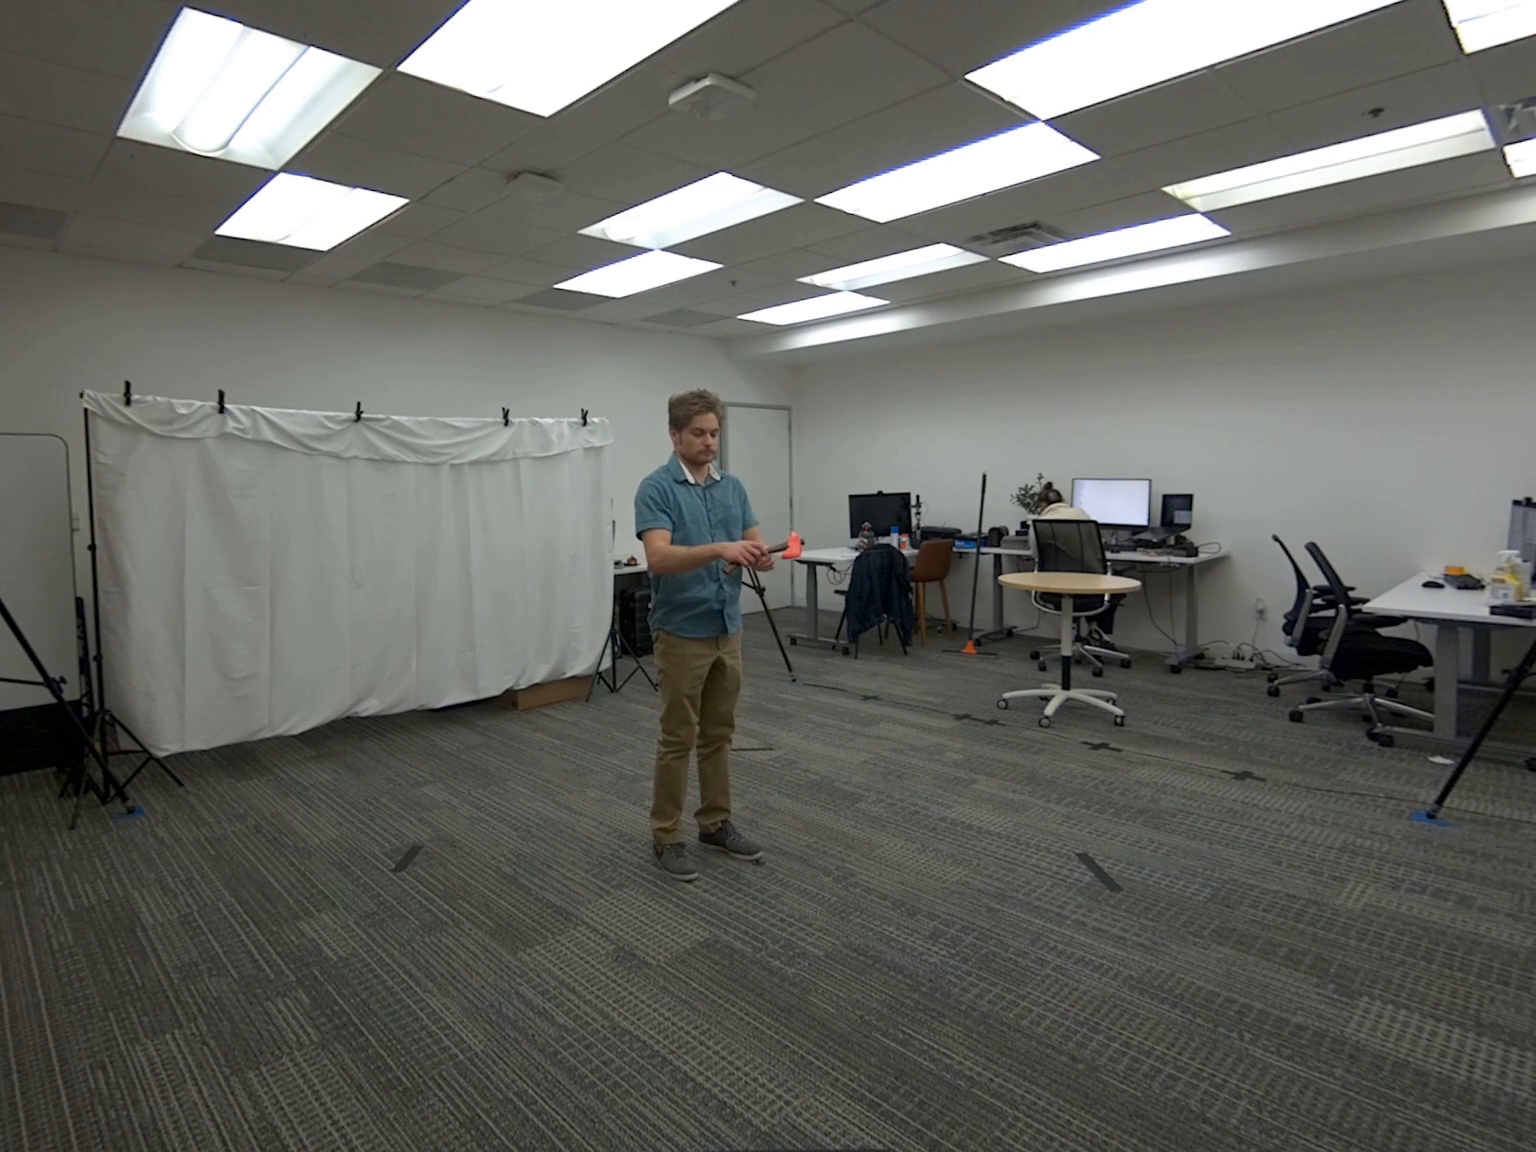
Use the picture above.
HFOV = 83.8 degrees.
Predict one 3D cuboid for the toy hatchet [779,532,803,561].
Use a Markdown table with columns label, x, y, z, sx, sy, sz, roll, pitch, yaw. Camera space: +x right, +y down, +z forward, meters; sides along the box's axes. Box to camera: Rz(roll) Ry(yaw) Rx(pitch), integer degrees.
| label | x | y | z | sx | sy | sz | roll | pitch | yaw |
| --- | --- | --- | --- | --- | --- | --- | --- | --- | --- |
| toy hatchet | -0.010 | -0.050 | 2.687 | 0.269 | 0.028 | 0.136 | -29 | 38 | -7 |
